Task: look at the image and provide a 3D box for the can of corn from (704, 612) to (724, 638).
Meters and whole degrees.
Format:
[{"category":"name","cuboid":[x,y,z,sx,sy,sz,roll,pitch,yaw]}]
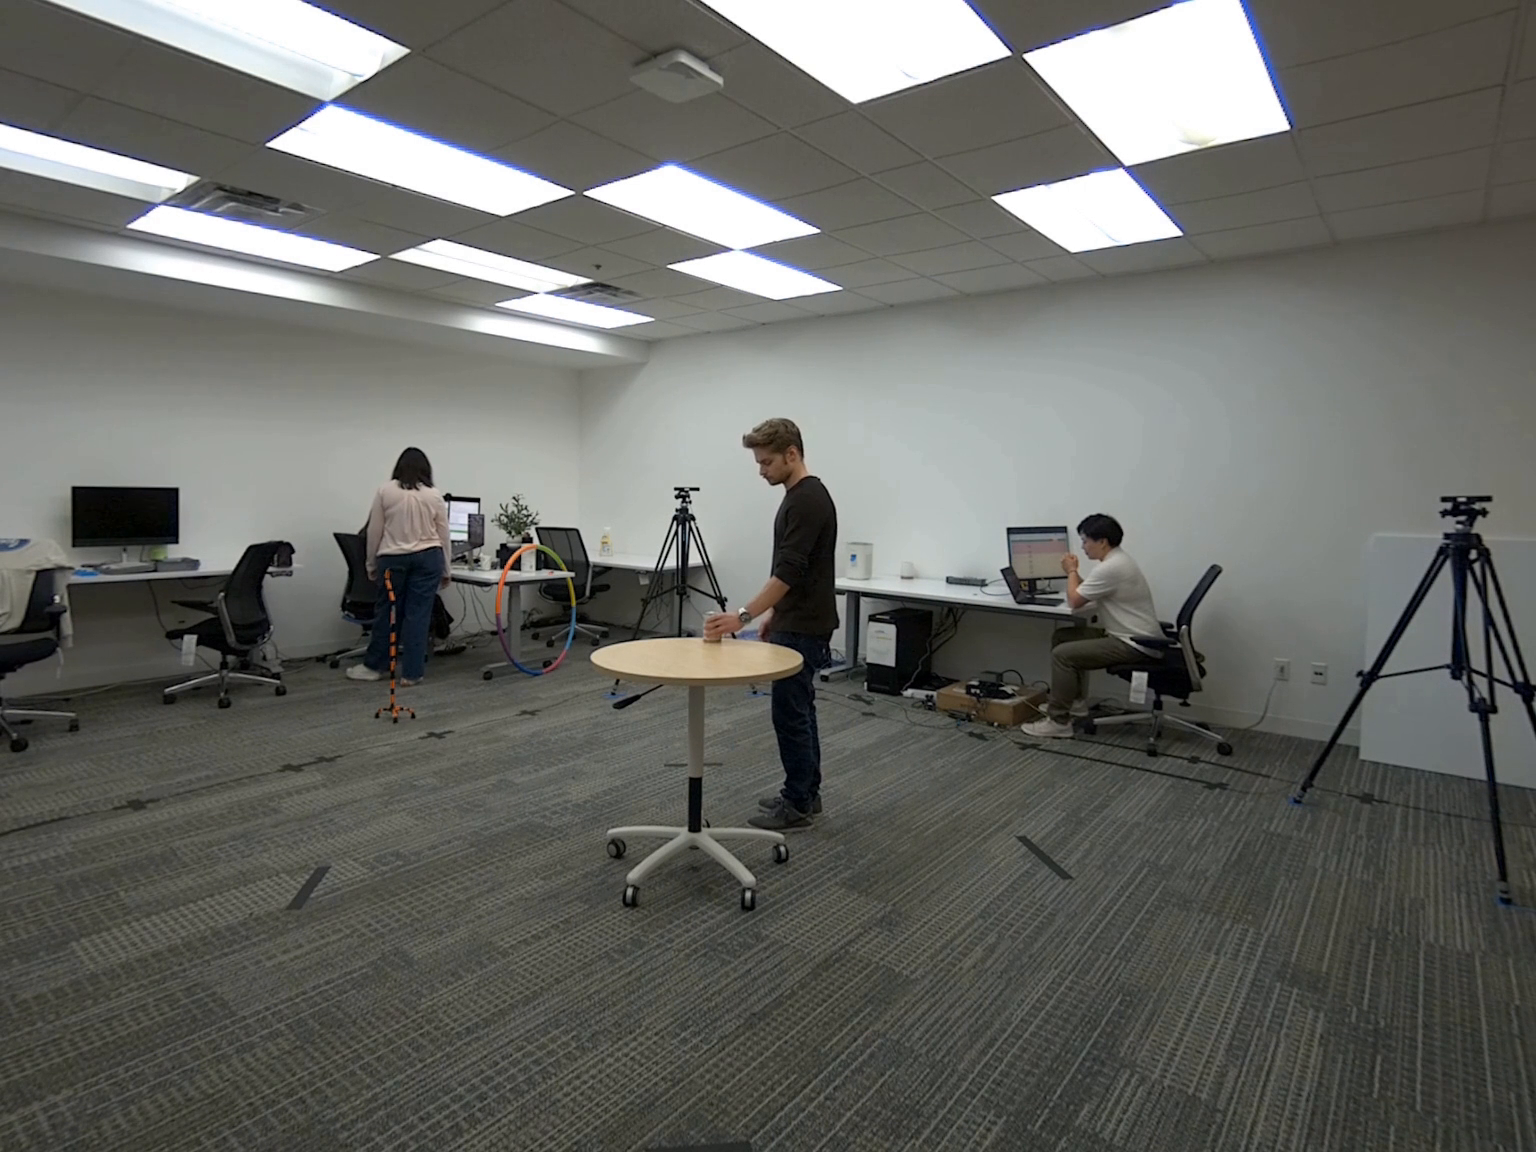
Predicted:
[{"category":"can of corn","cuboid":[-0.227,0.195,3.383,0.074,0.110,0.074,1,4,-2]}]
